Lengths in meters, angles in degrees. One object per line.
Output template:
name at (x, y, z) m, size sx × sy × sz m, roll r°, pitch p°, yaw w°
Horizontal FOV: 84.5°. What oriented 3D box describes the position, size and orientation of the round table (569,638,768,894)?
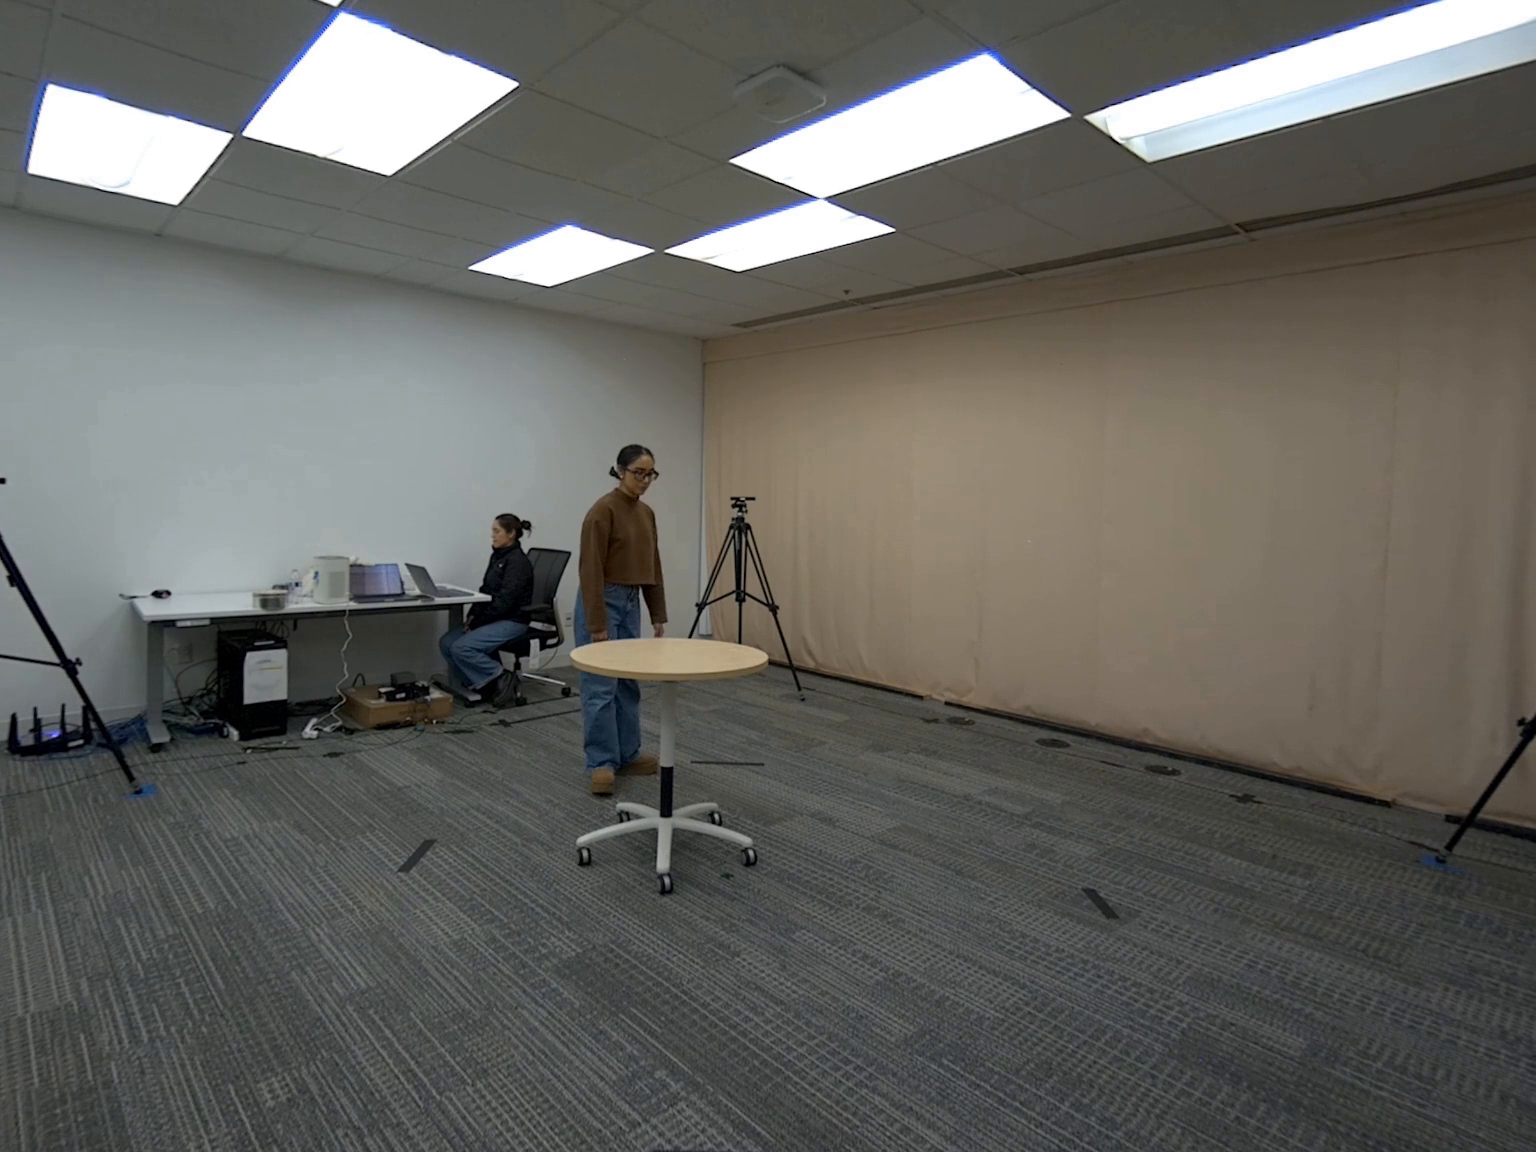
round table at (-0.401, 0.698, 3.292) m, size 0.763 × 0.792 × 0.766 m, roll 1°, pitch 3°, yaw -1°
